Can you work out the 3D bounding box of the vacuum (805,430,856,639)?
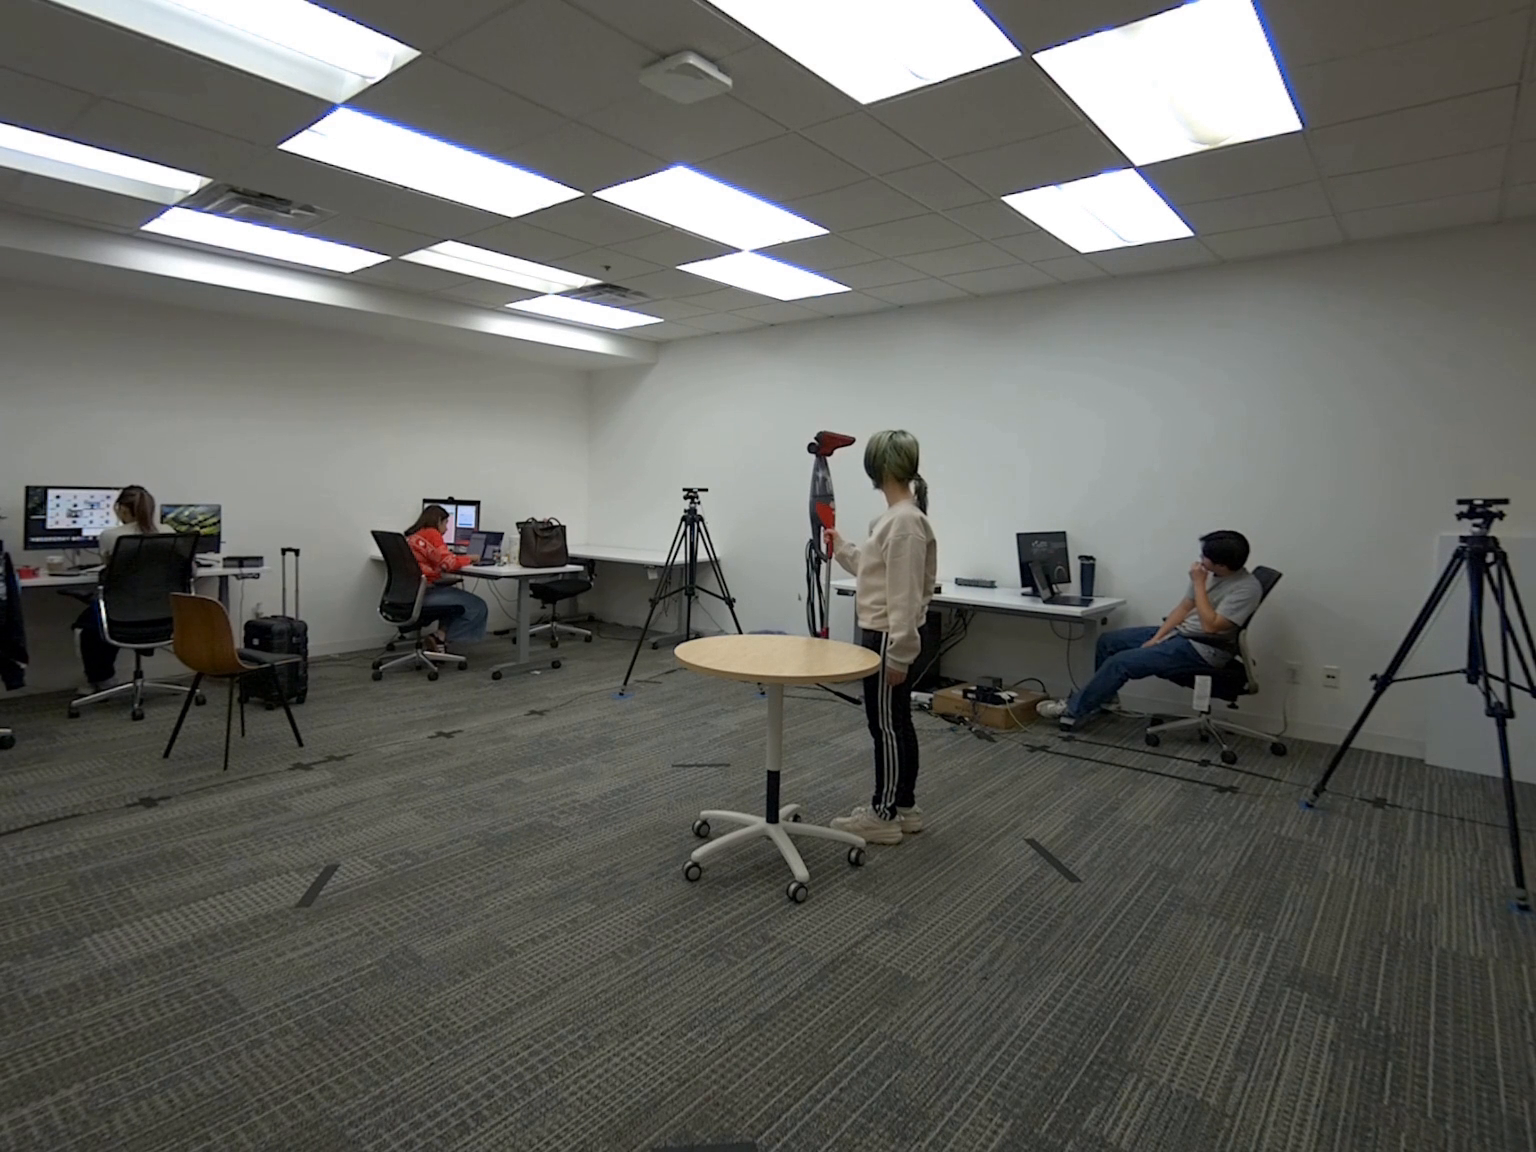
[{"bbox_3d":[0.225,-0.086,3.764,0.149,1.050,0.244,4,-1,40],"label":"vacuum"}]
